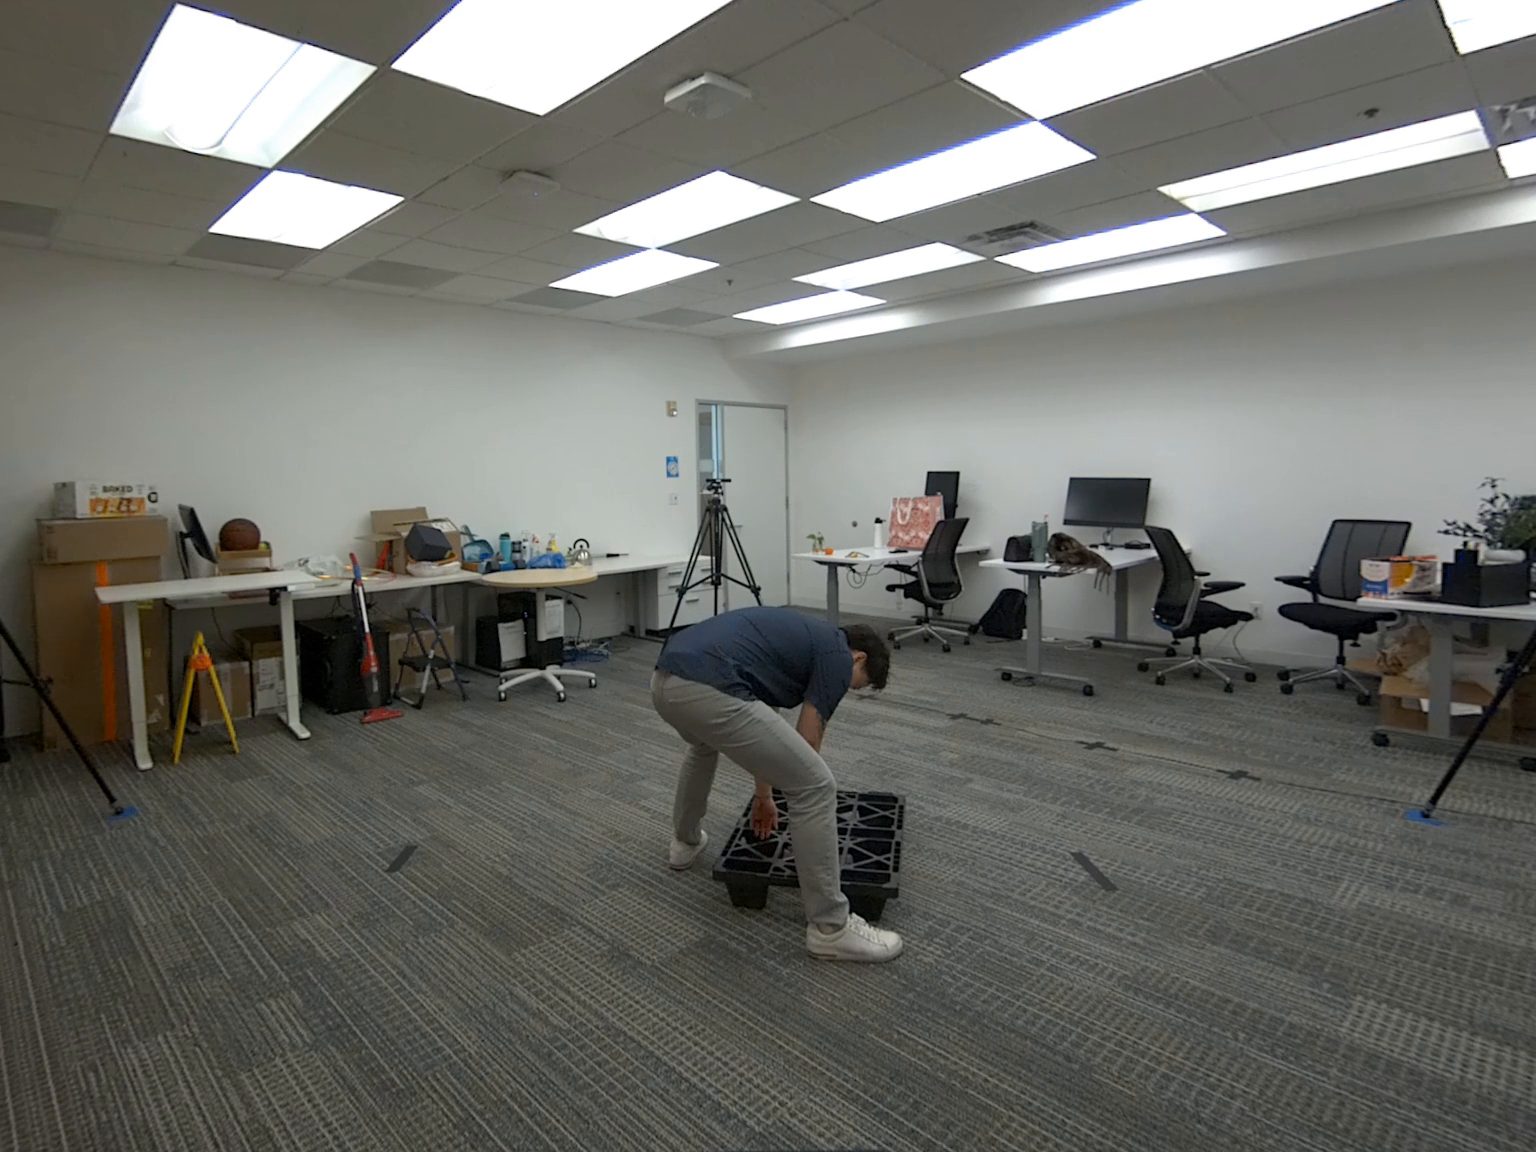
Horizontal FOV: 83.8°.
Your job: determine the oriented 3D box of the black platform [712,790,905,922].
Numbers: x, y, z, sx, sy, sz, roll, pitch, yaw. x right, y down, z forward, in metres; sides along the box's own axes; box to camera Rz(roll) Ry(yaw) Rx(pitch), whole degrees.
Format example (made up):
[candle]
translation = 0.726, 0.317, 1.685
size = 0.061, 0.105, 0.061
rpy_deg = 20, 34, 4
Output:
[black platform]
translation = 0.179, 0.976, 3.087
size = 0.613, 0.143, 0.799
rpy_deg = 0, 6, 12
